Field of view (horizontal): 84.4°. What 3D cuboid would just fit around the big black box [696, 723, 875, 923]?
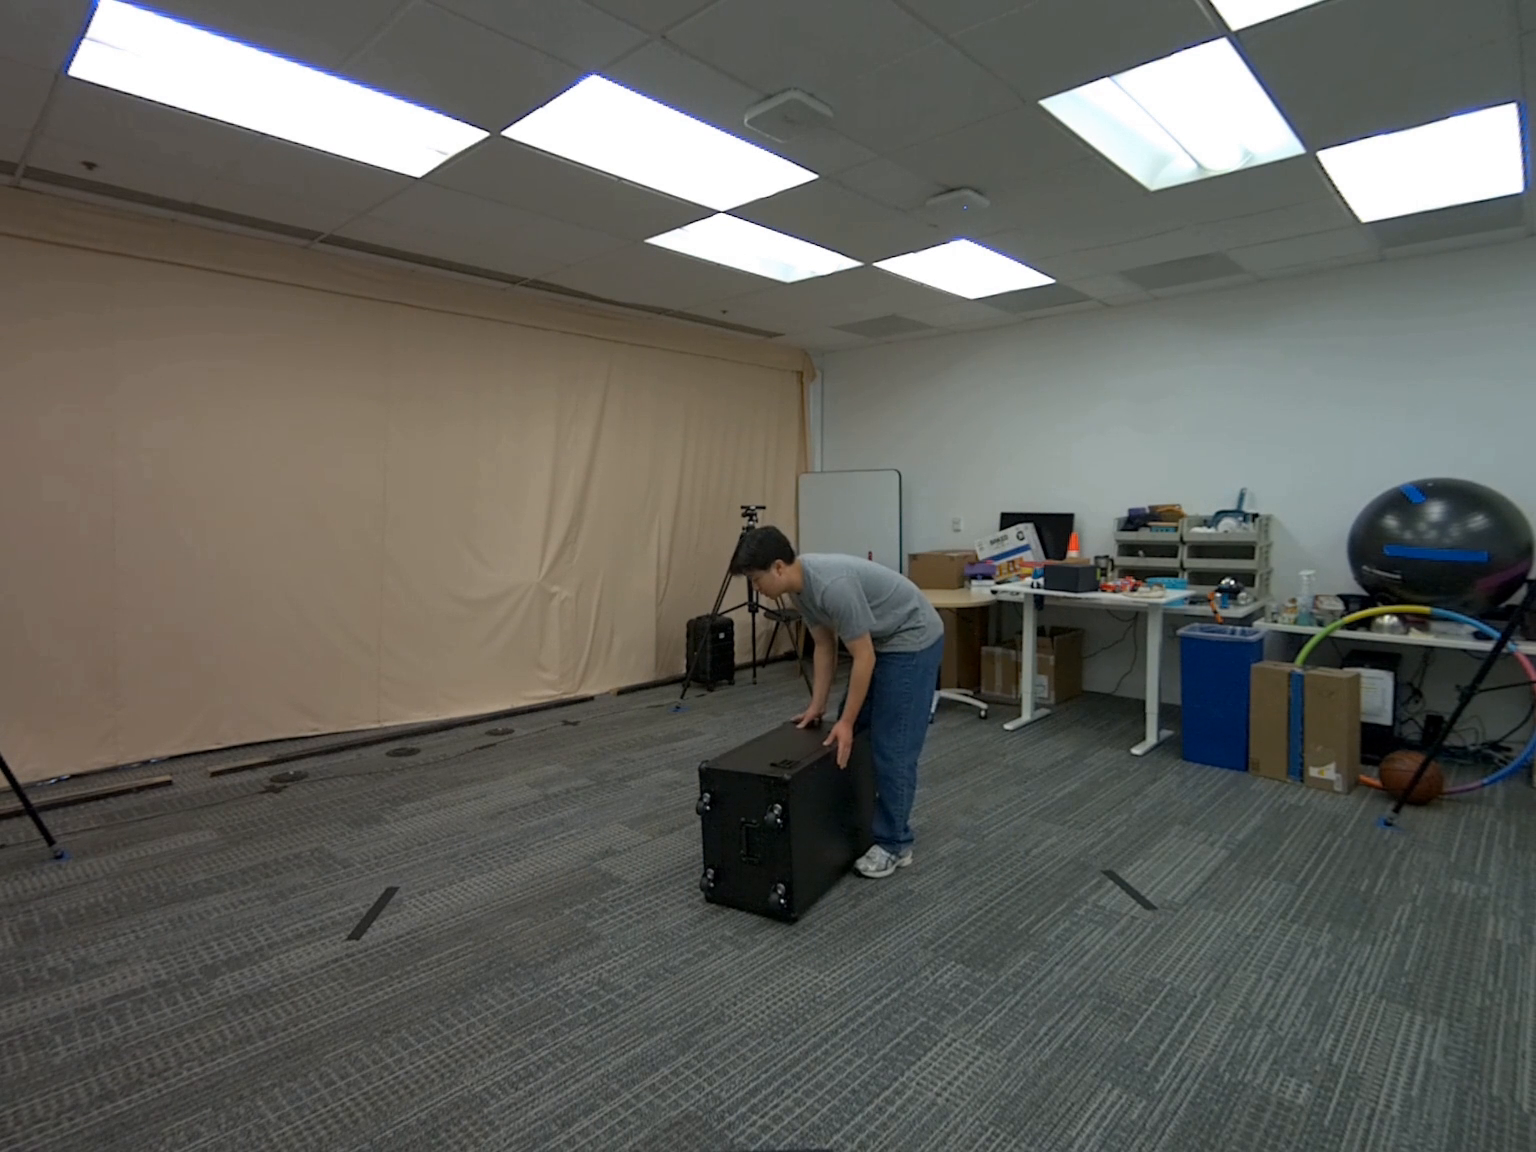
[{"bbox_3d":[0.074,0.869,3.168,0.407,0.520,0.840,-1,3,28],"label":"big black box"}]
